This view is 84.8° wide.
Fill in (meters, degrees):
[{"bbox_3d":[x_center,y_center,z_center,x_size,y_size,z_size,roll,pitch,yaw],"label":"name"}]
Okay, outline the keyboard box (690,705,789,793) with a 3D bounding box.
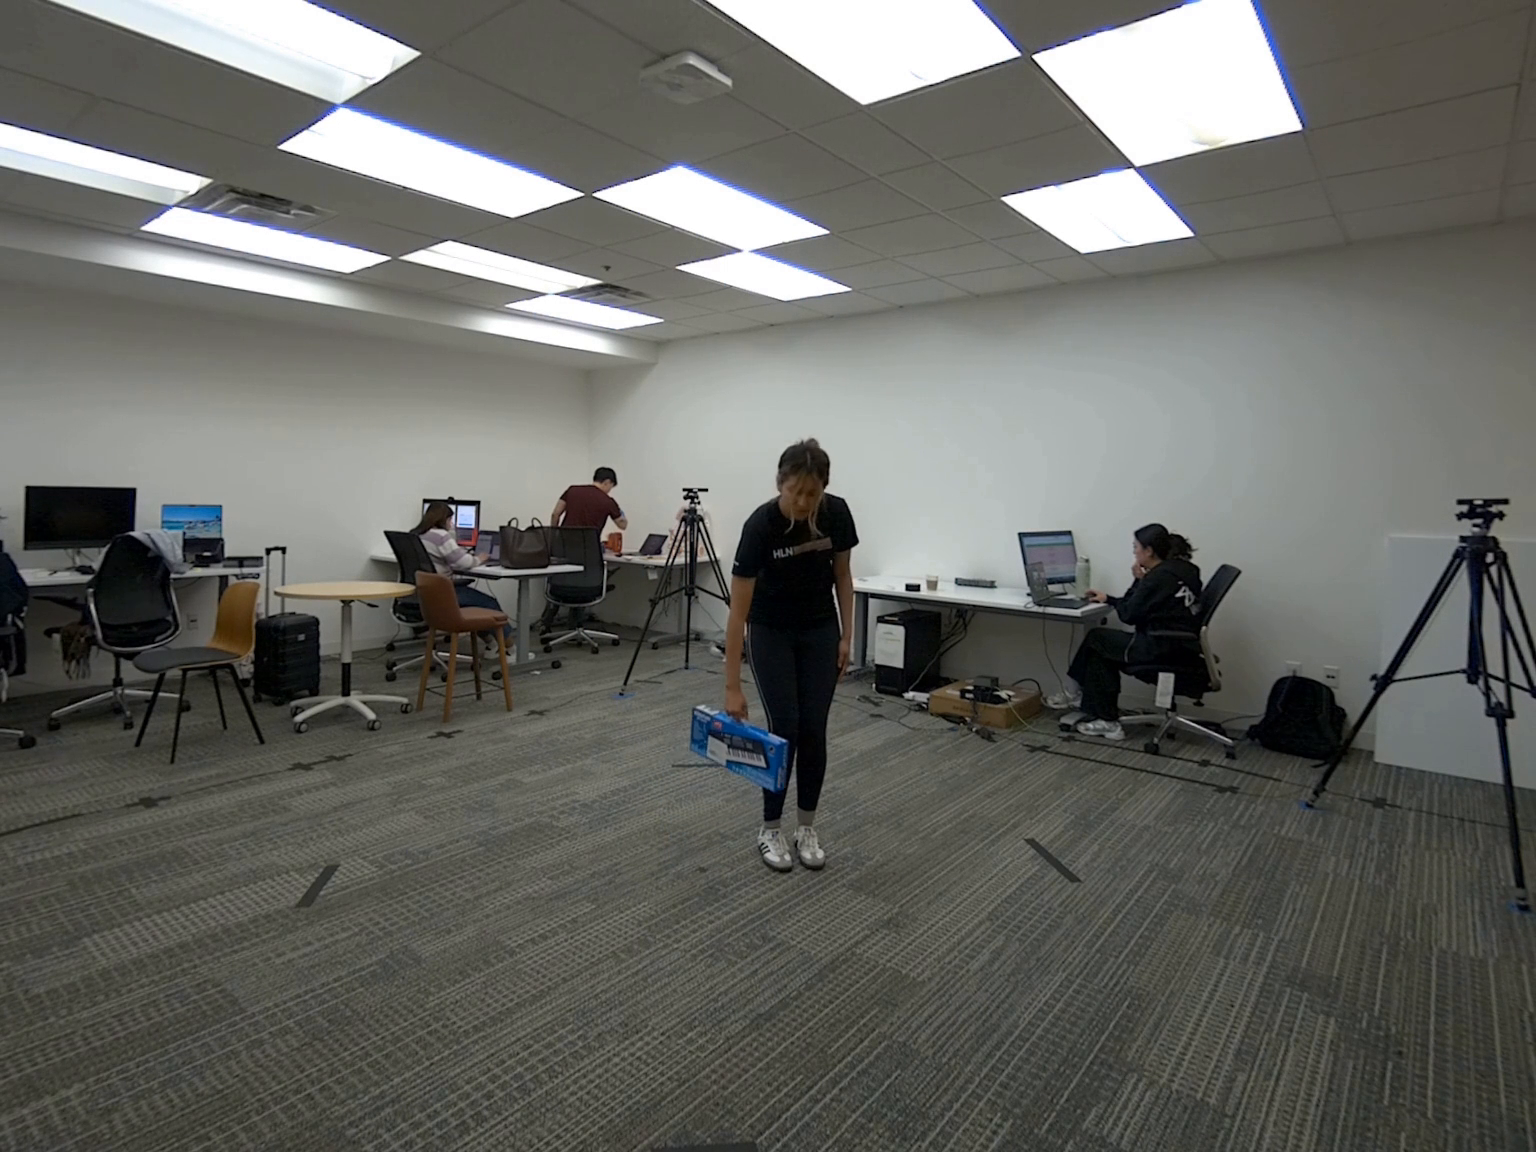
[{"bbox_3d":[-0.128,0.614,3.065,0.453,0.175,0.057,14,12,43],"label":"keyboard box"}]
